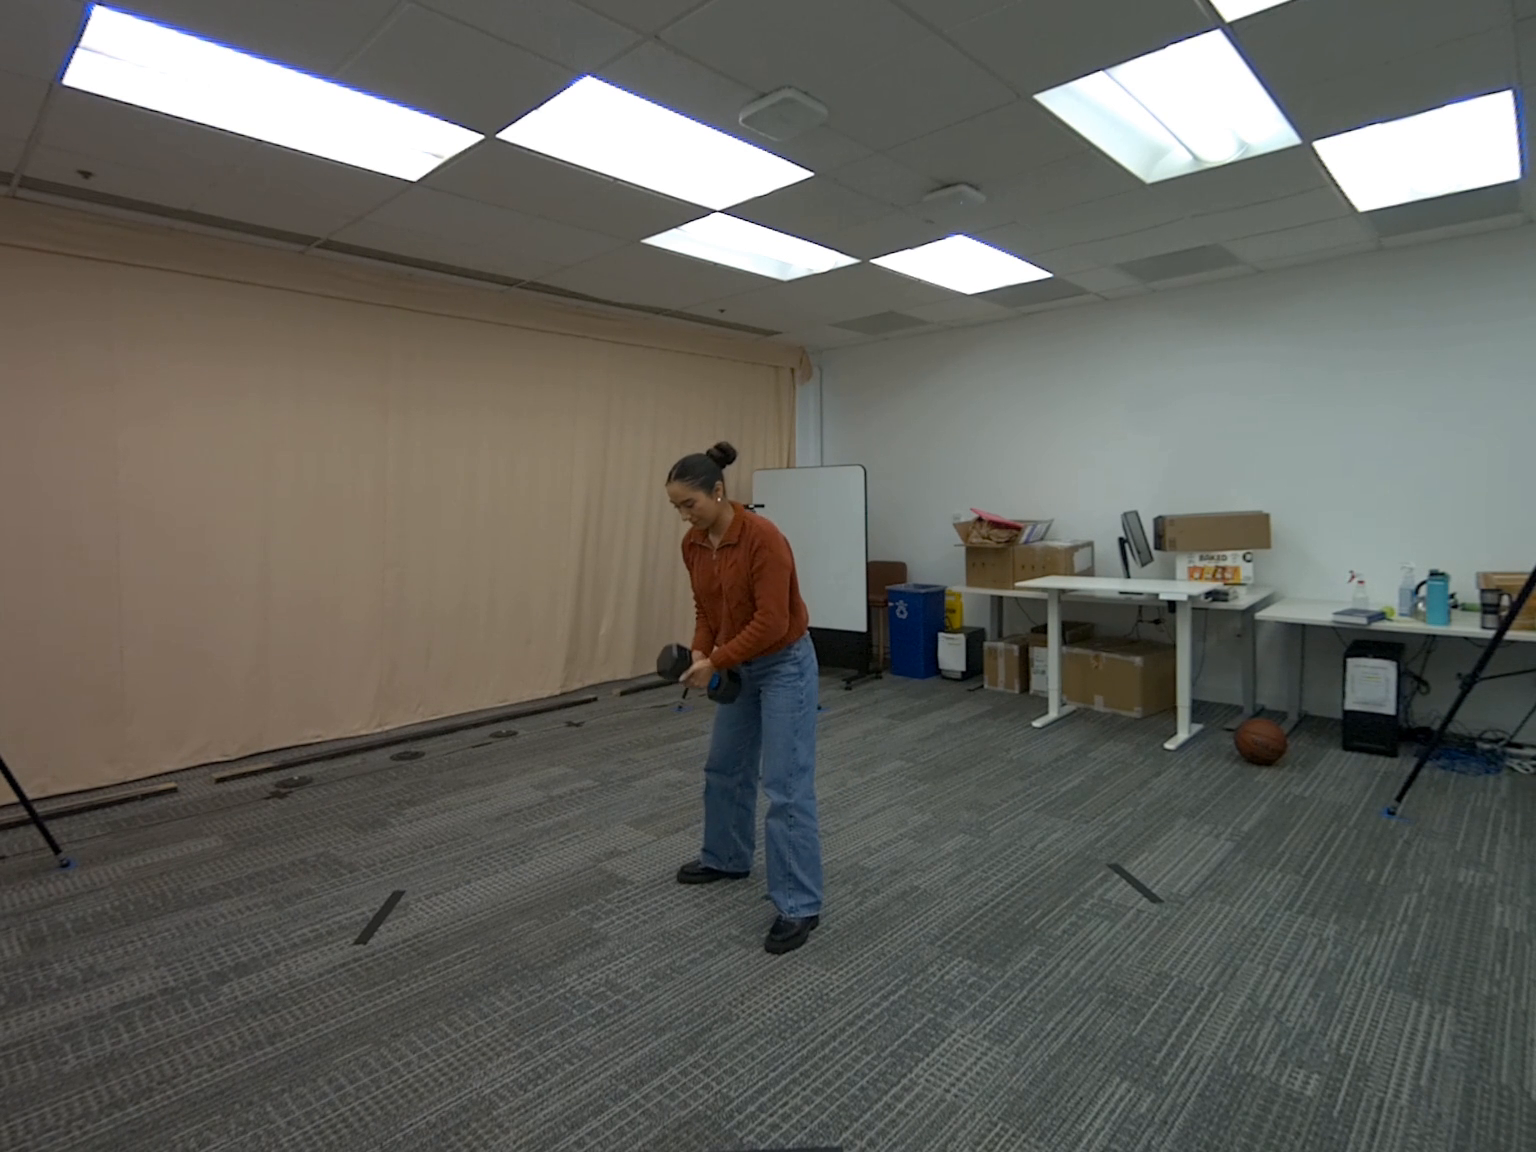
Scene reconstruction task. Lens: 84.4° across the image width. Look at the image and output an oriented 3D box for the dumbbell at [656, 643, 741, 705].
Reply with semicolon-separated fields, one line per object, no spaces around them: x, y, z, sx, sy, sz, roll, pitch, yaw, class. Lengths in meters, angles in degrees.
-0.219;0.328;2.787;0.285;0.109;0.126;29;30;-28;dumbbell
